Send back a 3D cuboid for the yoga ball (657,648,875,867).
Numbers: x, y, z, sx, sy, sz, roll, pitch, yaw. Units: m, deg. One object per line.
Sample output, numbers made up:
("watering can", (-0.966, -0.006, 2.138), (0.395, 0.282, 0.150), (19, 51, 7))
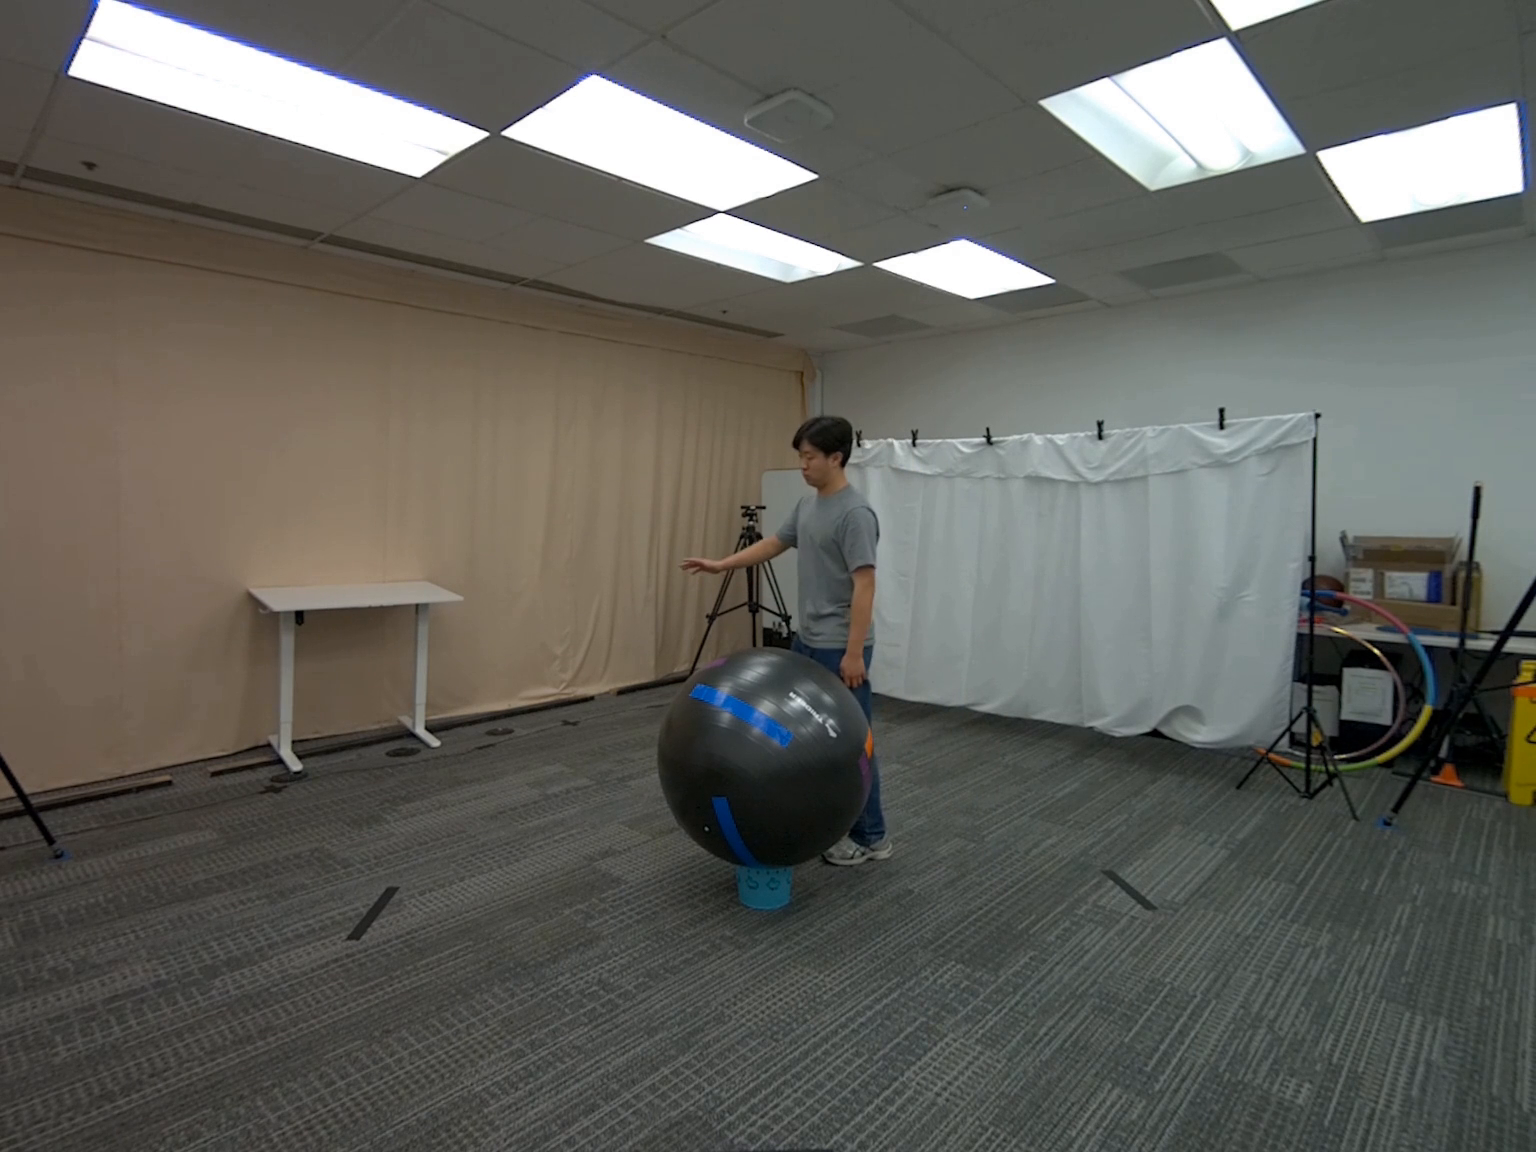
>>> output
("yoga ball", (-0.014, 0.634, 2.972), (0.757, 0.756, 0.760), (0, 4, -2))
